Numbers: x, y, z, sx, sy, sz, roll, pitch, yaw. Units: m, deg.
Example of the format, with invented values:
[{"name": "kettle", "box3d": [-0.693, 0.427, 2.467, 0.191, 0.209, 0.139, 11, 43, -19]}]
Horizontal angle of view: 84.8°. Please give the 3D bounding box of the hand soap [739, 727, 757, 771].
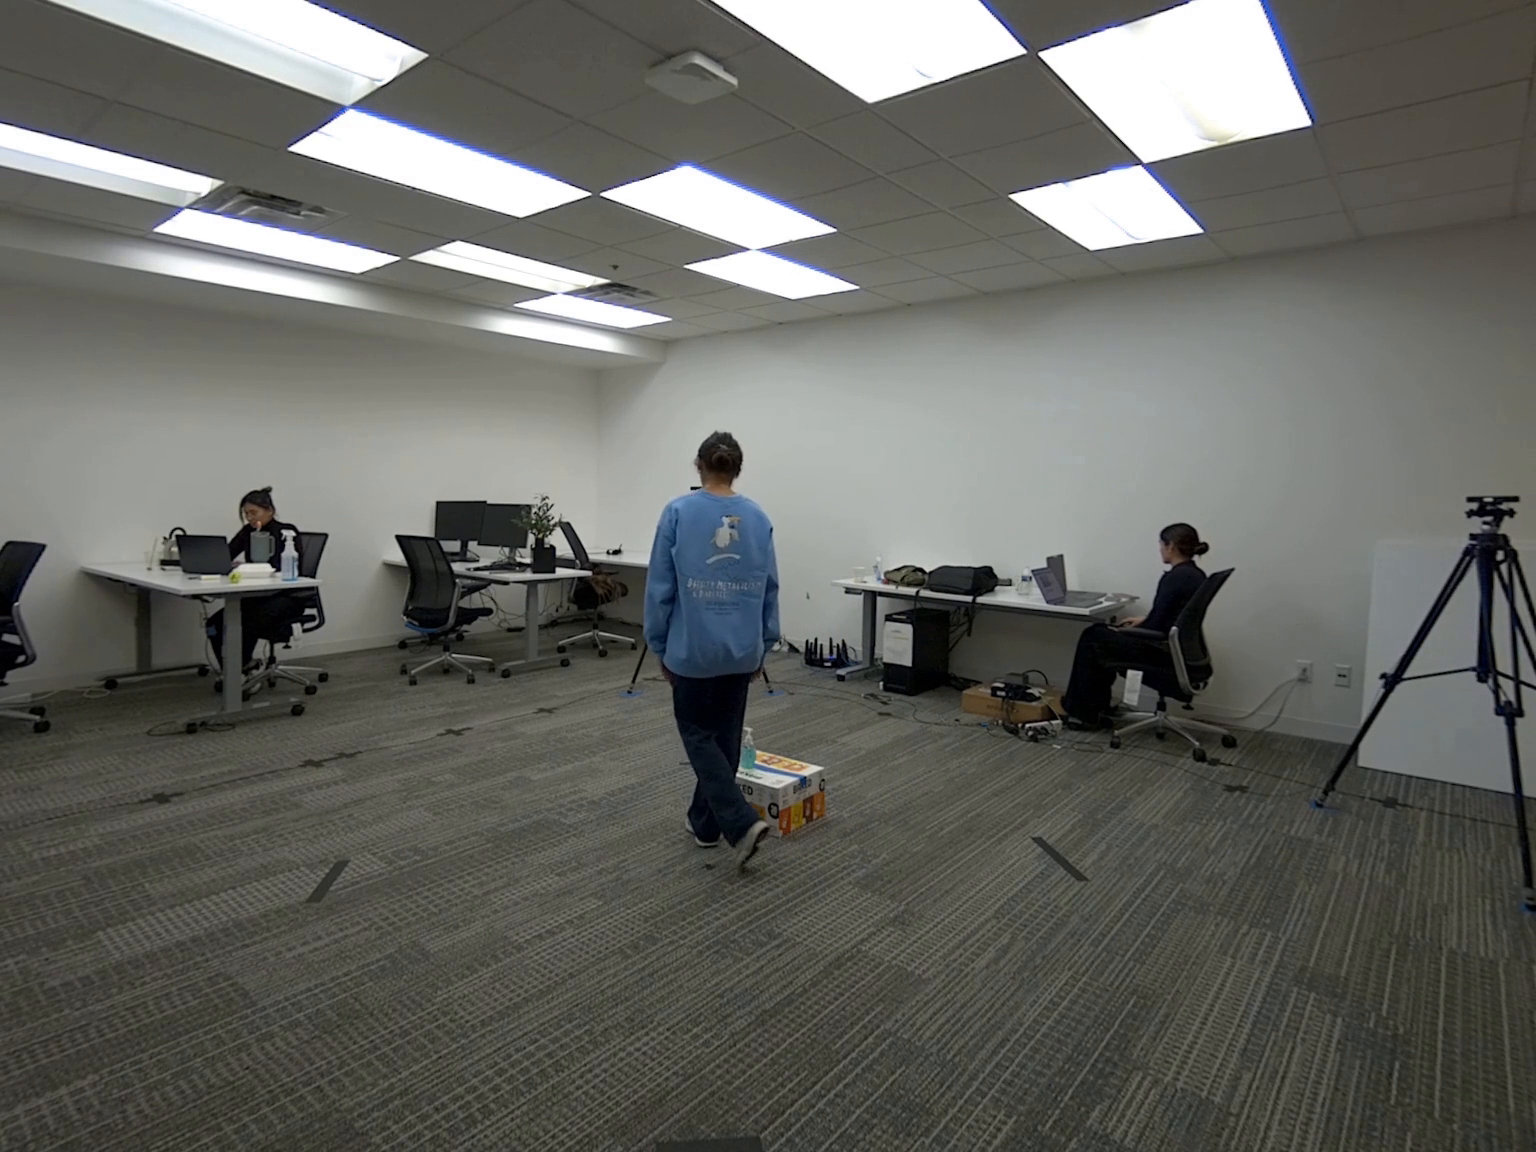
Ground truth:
[{"name": "hand soap", "box3d": [-0.100, 0.729, 3.643, 0.087, 0.167, 0.042, 7, 5, 40]}]
